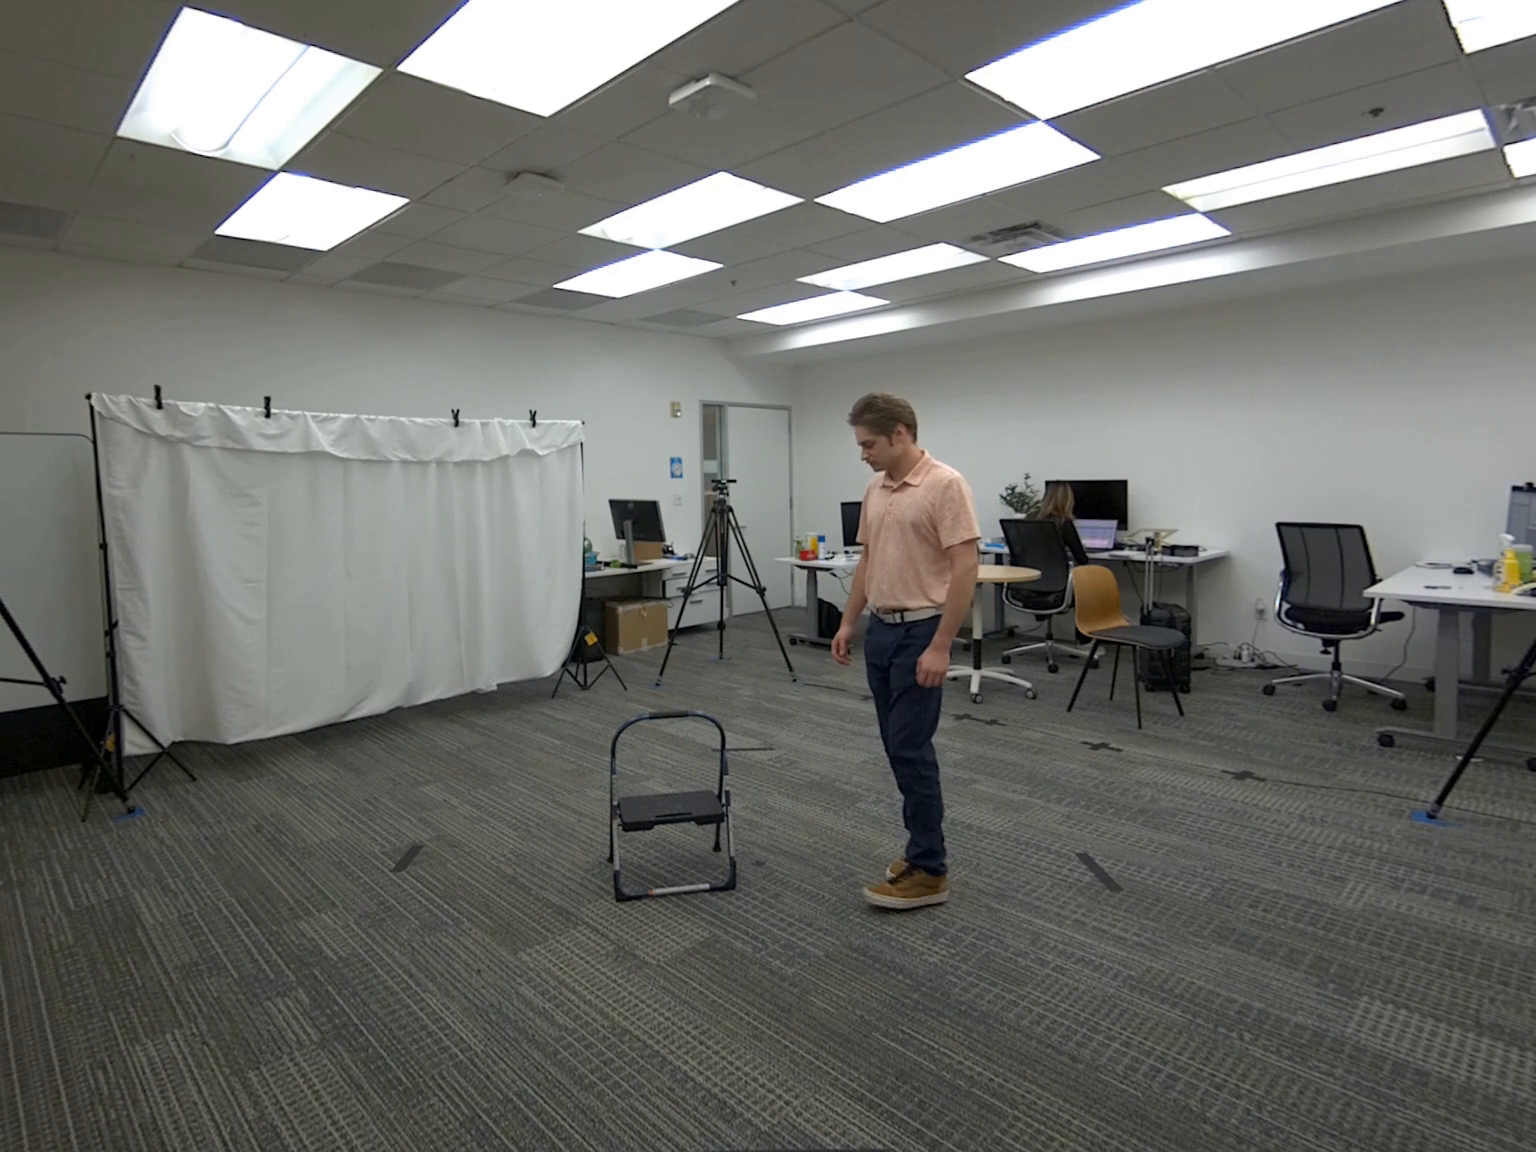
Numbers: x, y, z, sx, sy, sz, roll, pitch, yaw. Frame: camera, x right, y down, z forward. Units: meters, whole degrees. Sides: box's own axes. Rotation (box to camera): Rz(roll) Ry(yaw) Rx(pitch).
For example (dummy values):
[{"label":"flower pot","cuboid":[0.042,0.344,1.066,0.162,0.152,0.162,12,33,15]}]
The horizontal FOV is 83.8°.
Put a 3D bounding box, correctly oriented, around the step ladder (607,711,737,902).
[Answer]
[{"label":"step ladder","cuboid":[-0.353,0.759,3.027,0.425,0.604,0.355,-2,4,-13]}]
